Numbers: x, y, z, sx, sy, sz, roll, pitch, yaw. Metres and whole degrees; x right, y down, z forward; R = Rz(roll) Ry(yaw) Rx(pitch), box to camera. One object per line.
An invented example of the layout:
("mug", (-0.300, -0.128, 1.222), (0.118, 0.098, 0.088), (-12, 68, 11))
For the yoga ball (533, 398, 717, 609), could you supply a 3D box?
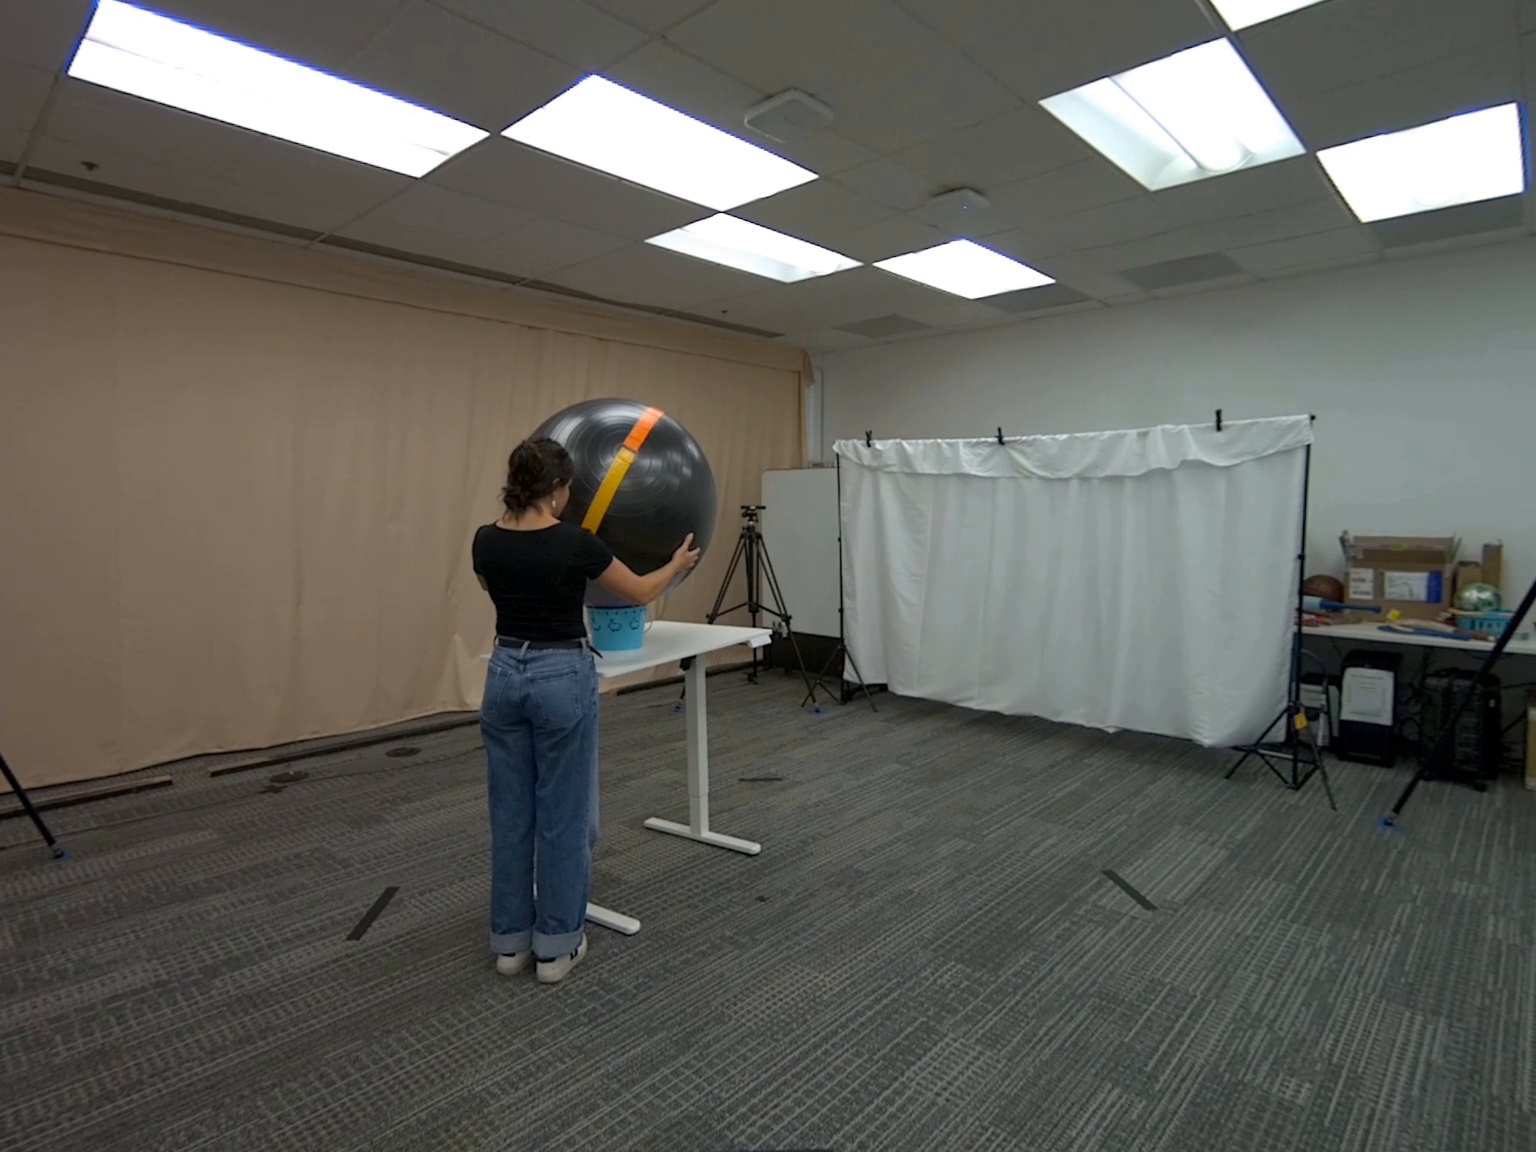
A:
("yoga ball", (-0.568, -0.255, 3.053), (0.757, 0.756, 0.760), (0, 4, -2))
